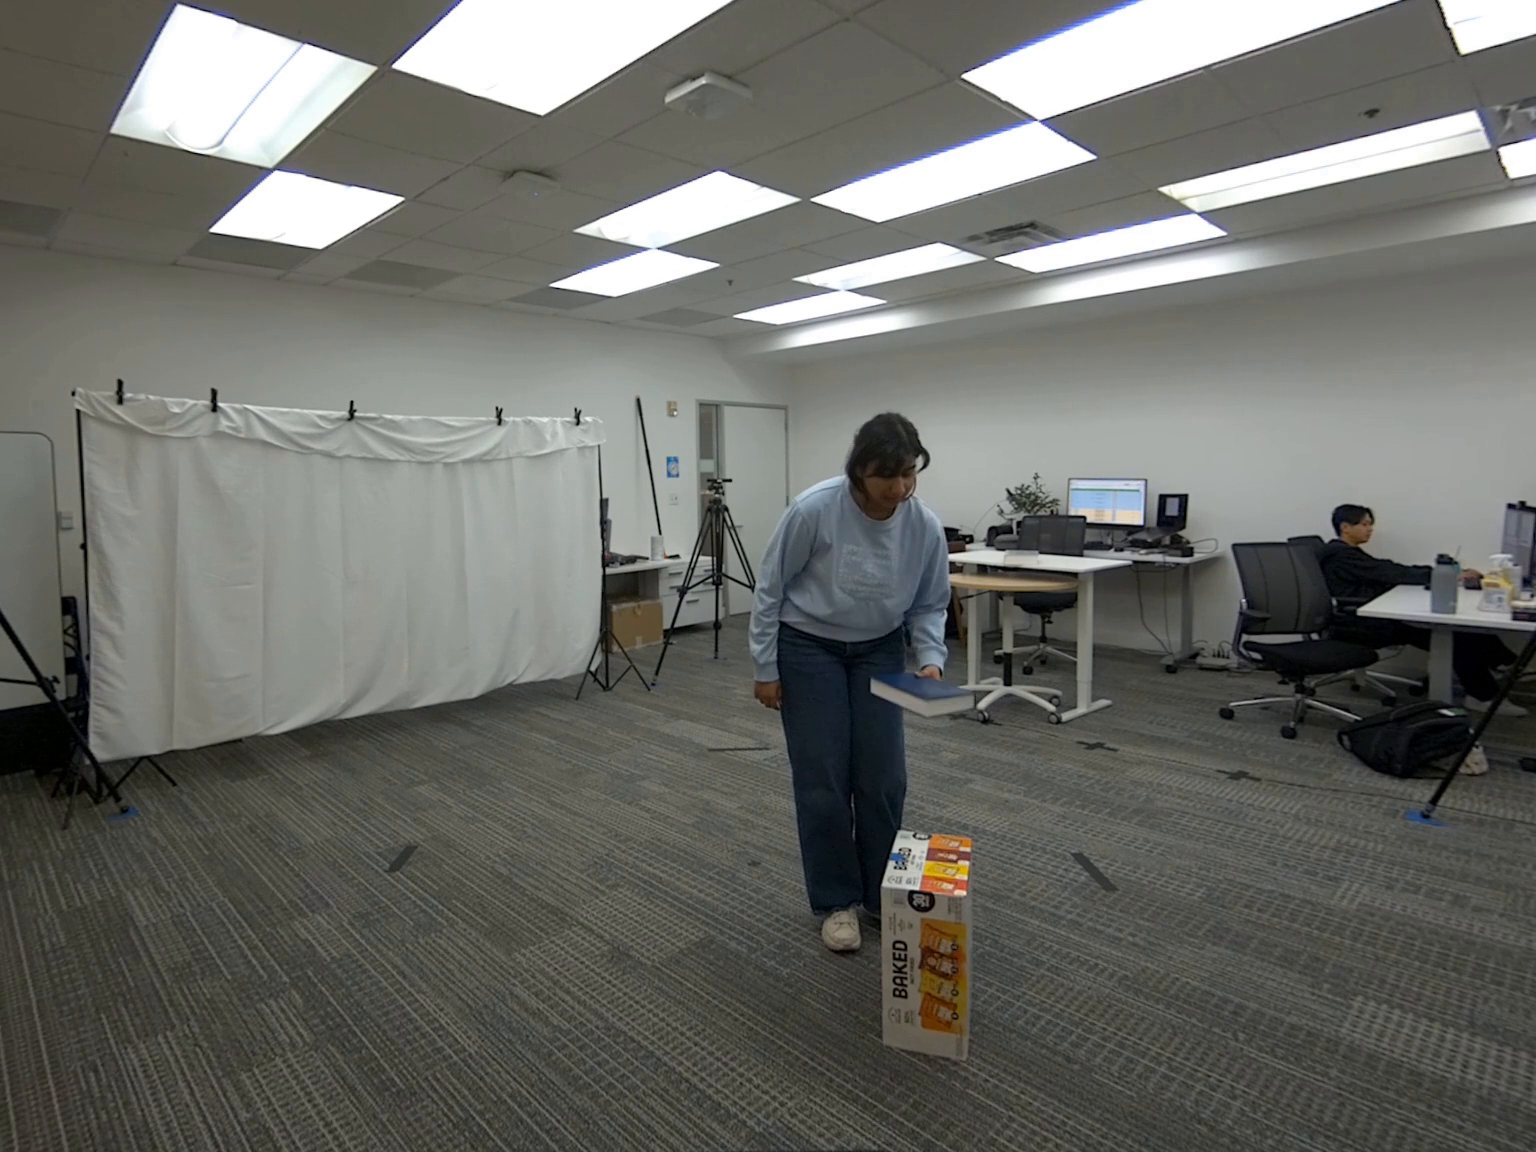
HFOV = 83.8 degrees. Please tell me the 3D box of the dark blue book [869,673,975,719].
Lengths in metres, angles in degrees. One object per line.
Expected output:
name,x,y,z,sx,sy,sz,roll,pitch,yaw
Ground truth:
dark blue book,0.407,0.314,2.267,0.160,0.045,0.252,-3,8,-26
